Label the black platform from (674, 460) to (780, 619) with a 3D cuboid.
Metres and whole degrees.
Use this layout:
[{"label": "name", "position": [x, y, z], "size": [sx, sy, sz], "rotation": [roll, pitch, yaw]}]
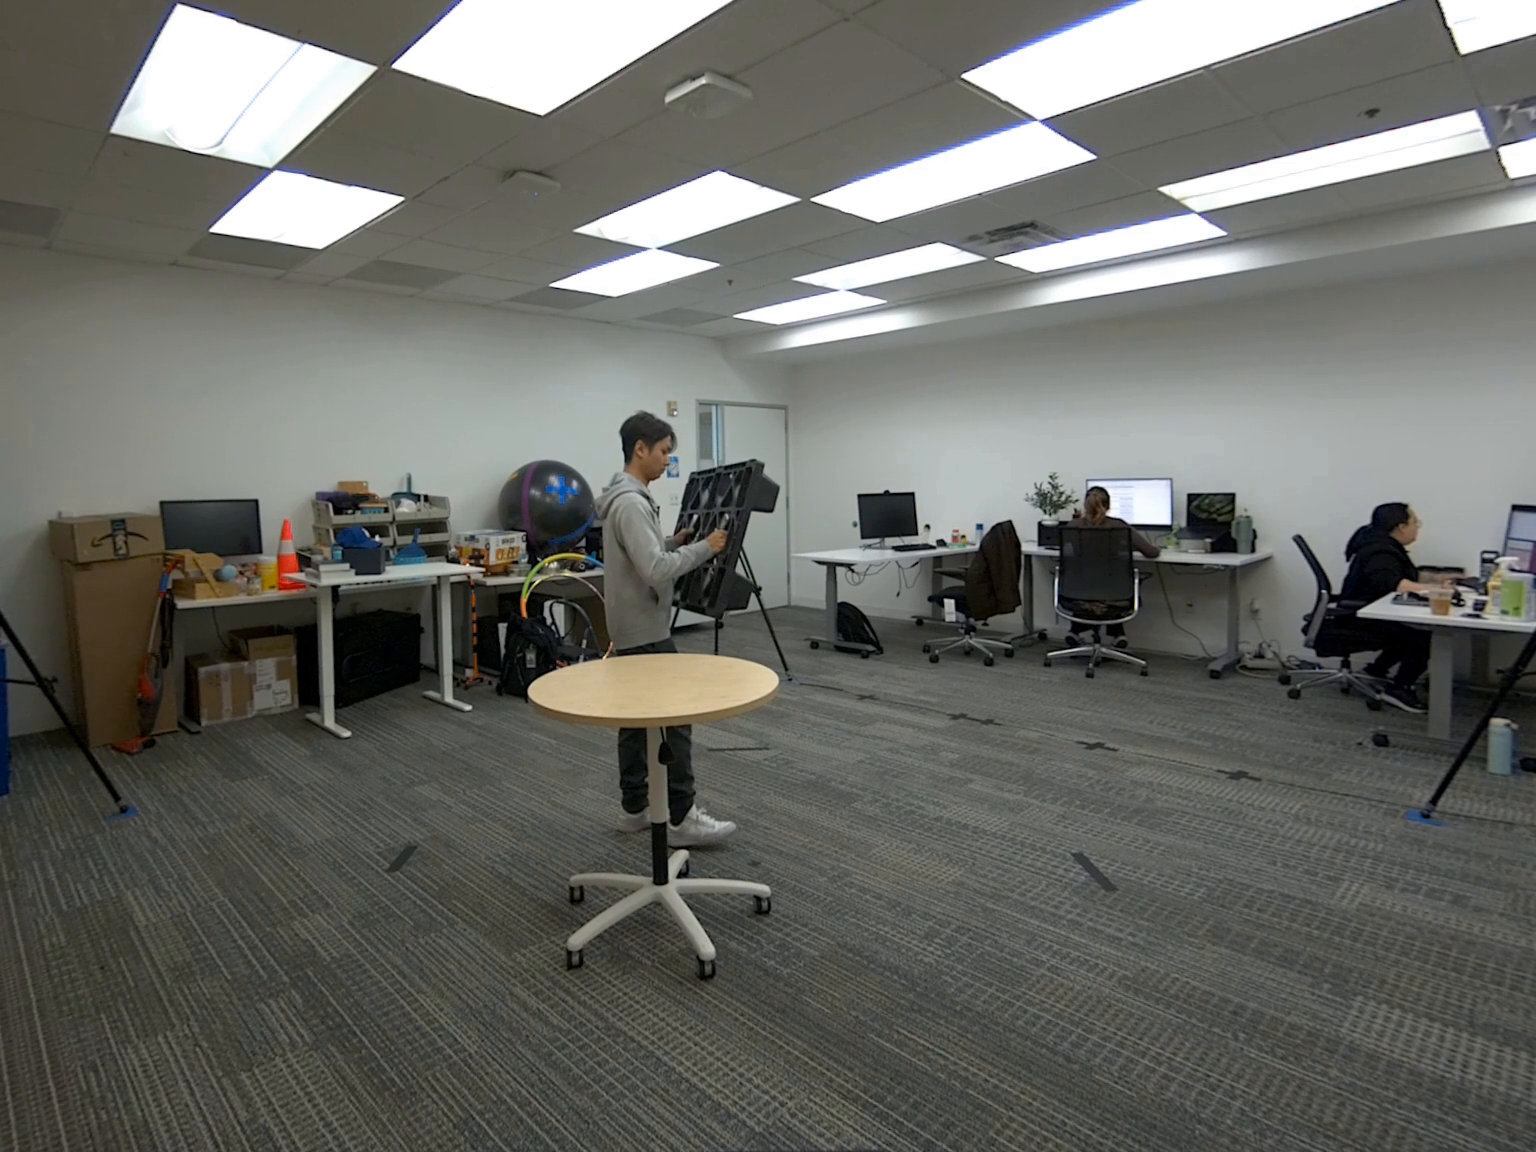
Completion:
[{"label": "black platform", "position": [-0.211, -0.139, 3.458], "size": [0.140, 0.607, 0.822], "rotation": [16, -4, -22]}]
